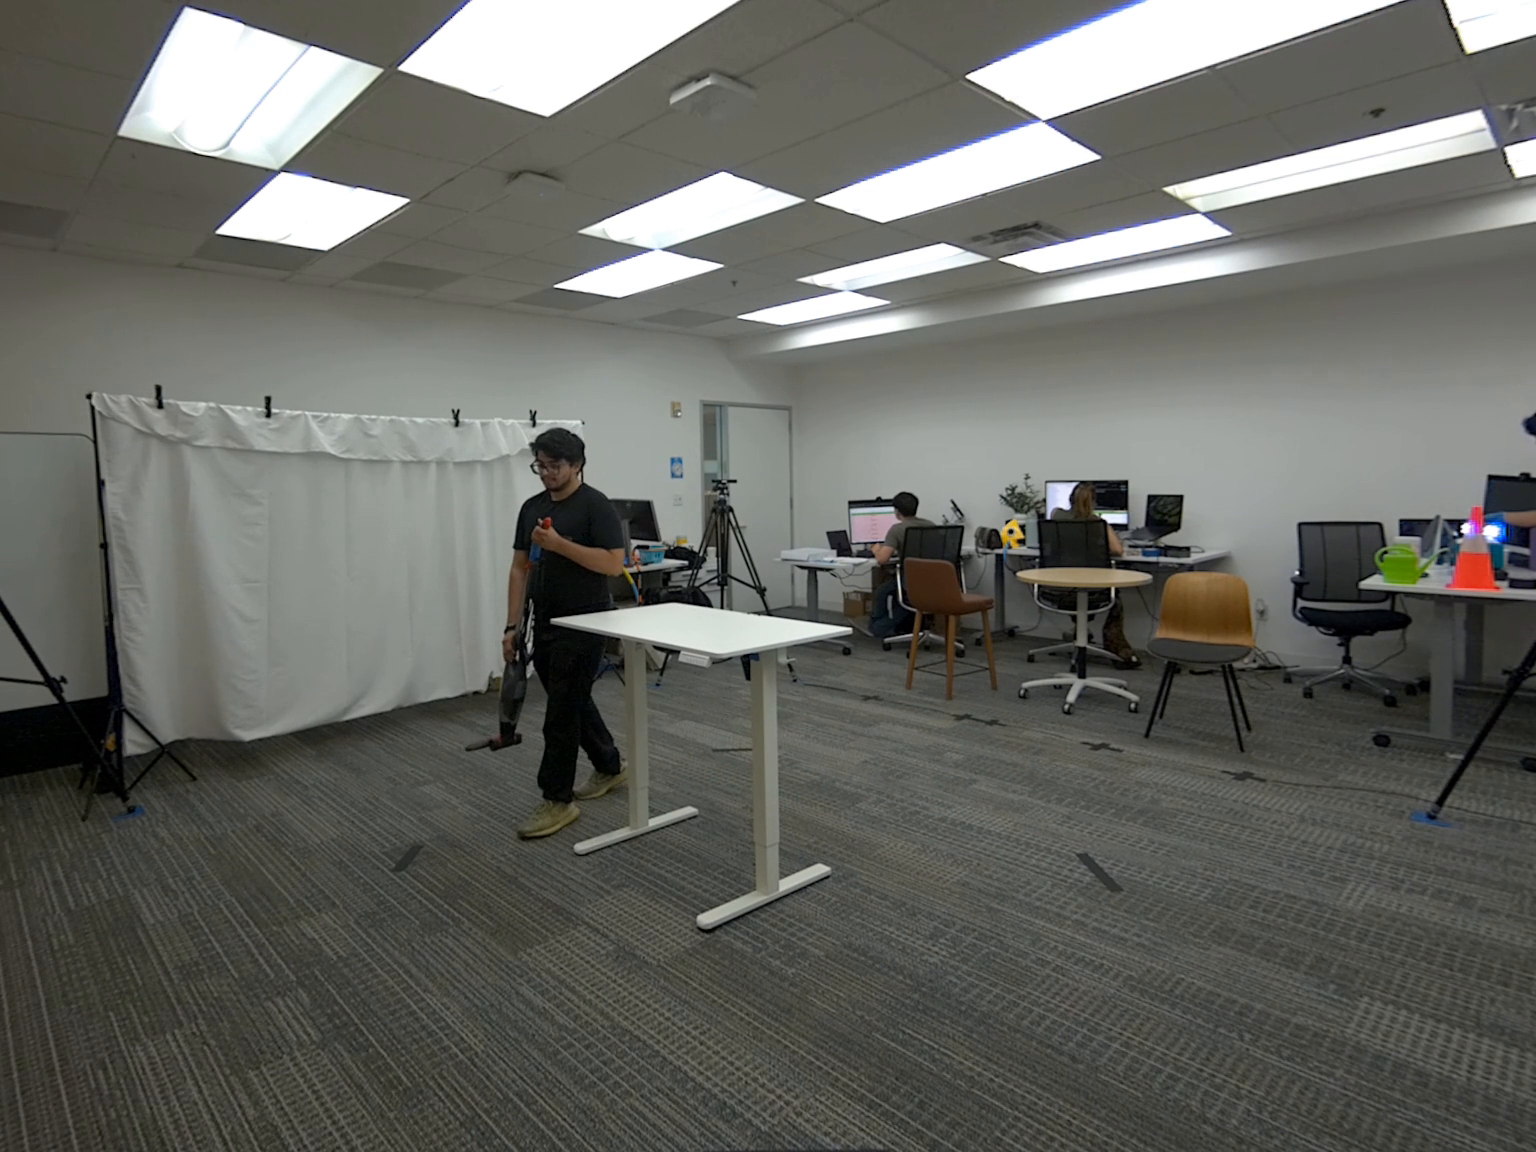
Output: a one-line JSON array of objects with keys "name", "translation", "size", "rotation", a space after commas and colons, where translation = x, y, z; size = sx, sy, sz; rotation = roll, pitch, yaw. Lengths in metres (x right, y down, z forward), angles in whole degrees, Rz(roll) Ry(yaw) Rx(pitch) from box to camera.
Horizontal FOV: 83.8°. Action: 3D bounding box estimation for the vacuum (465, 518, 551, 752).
[{"name": "vacuum", "translation": [-1.013, 0.261, 3.455], "size": [0.149, 1.037, 0.246], "rotation": [31, 25, 35]}]
